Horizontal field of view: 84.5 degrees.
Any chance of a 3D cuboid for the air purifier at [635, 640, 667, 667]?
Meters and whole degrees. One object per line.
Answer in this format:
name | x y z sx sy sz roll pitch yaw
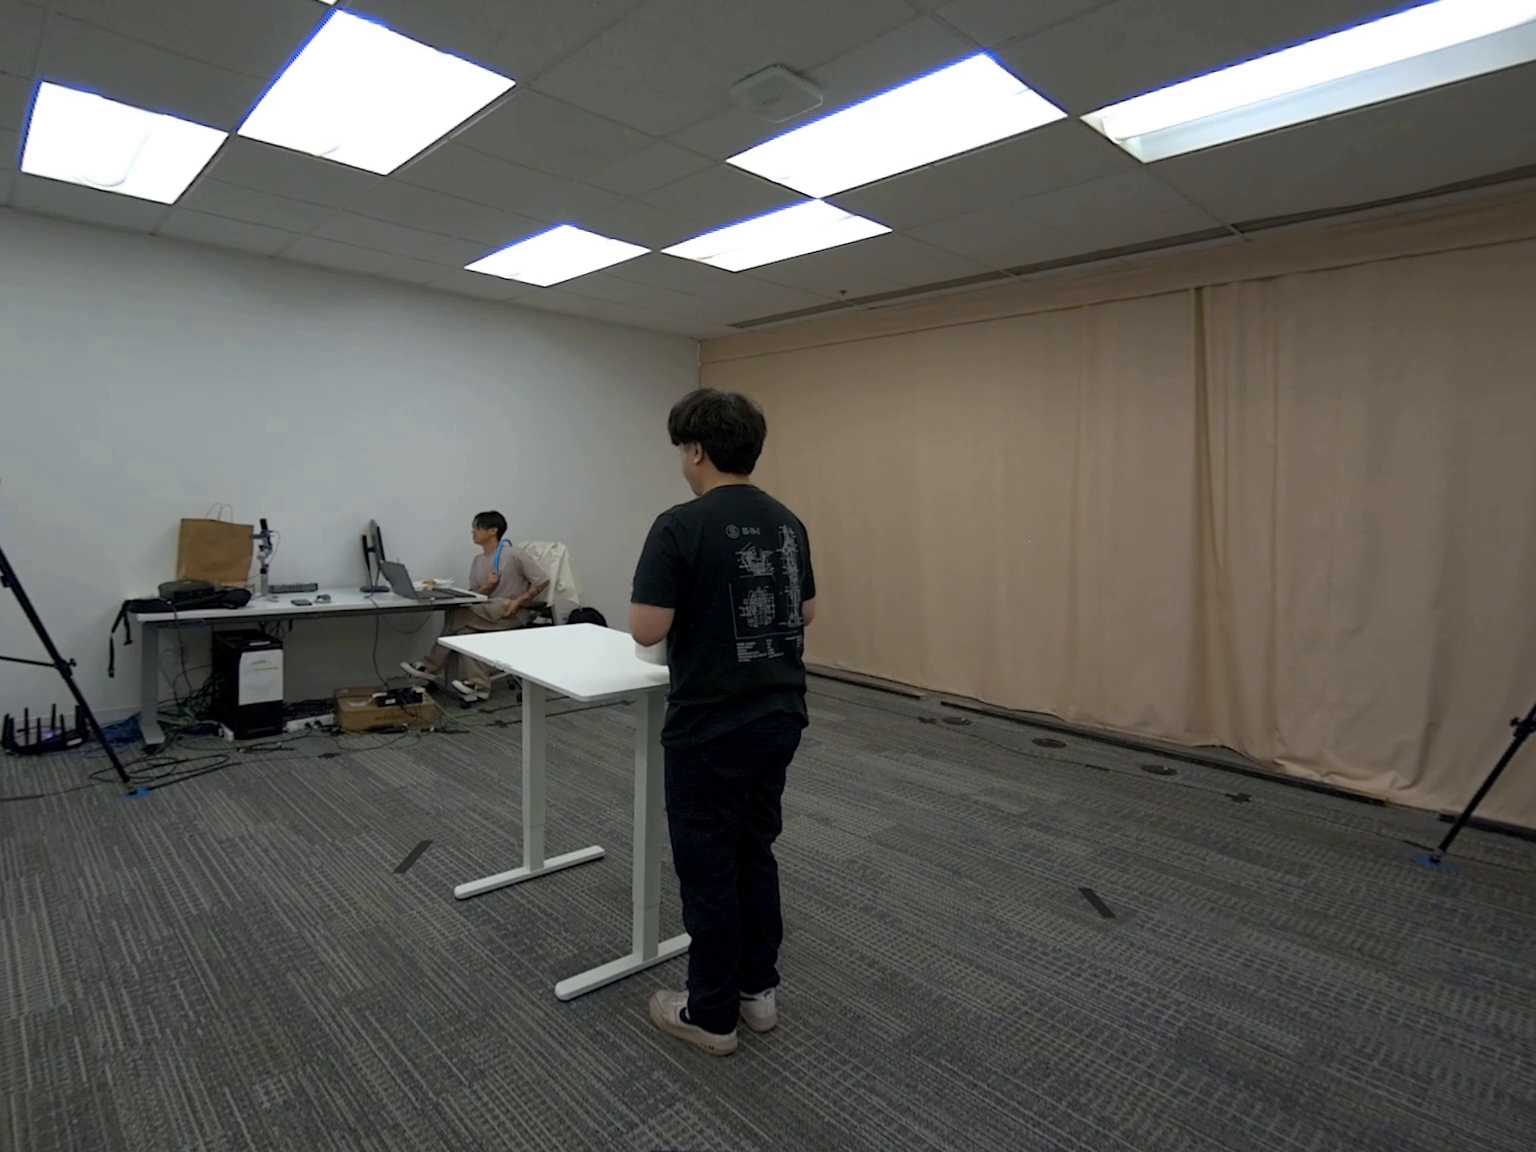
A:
air purifier | -0.268 0.117 2.369 0.167 0.265 0.175 0 0 -42
